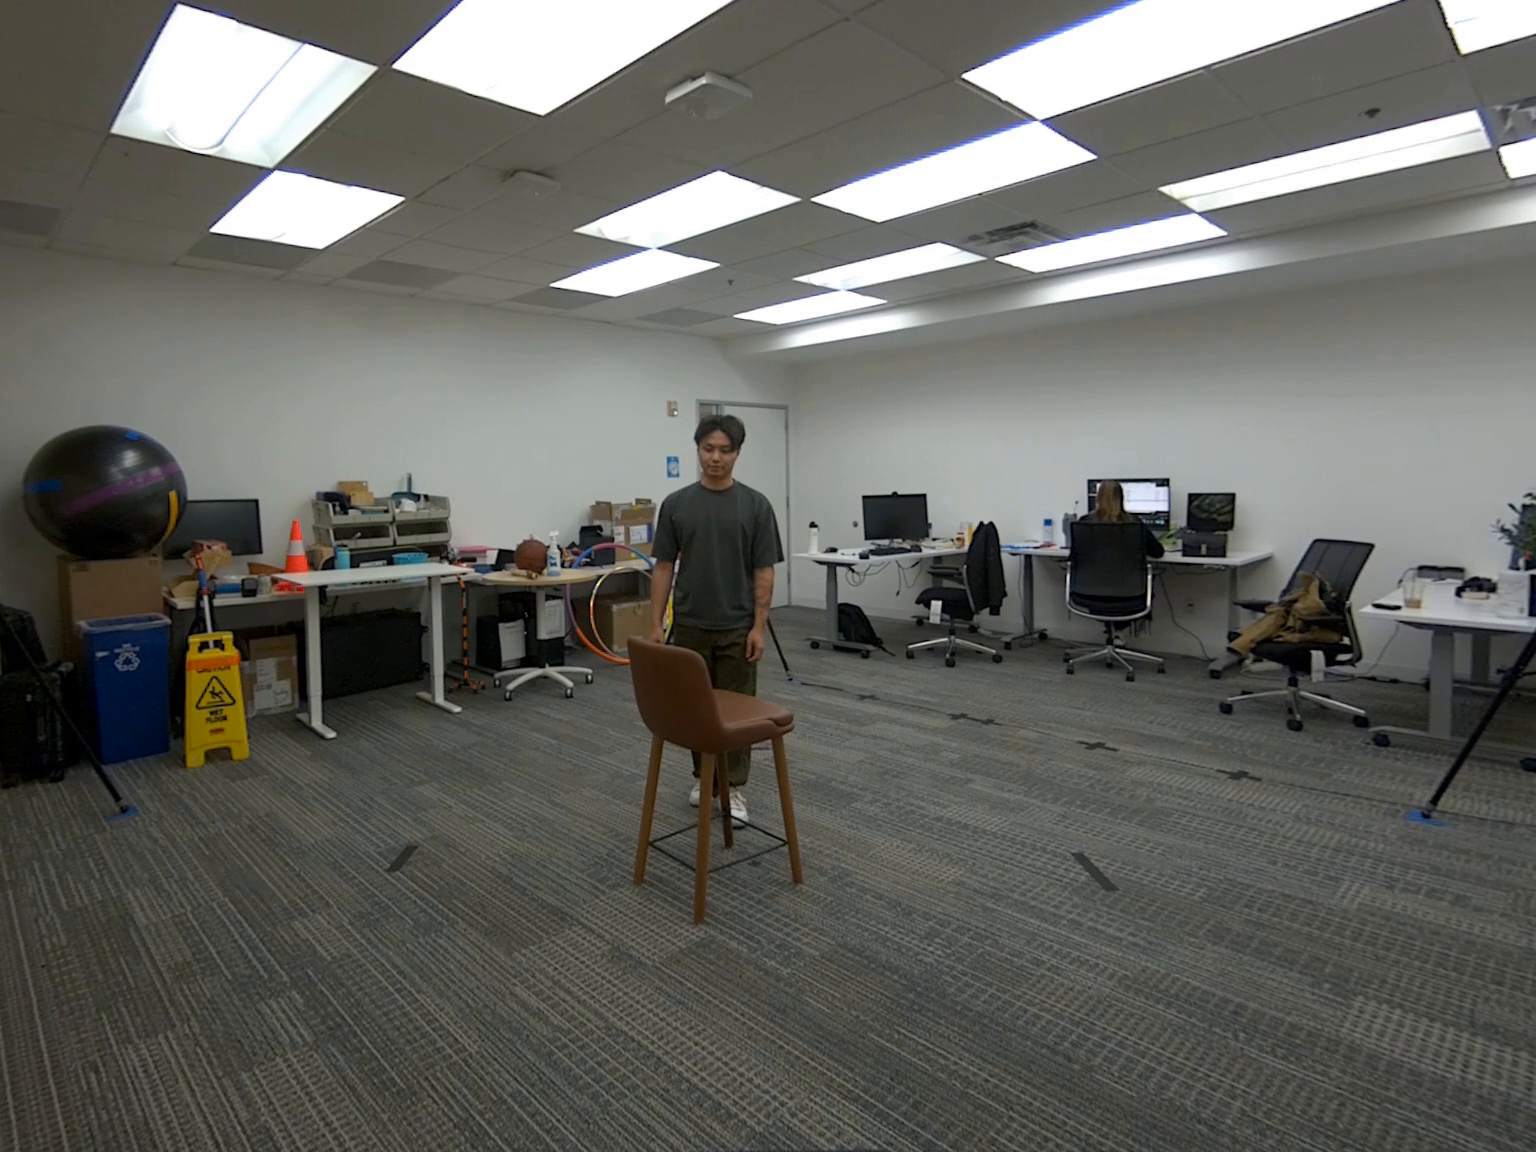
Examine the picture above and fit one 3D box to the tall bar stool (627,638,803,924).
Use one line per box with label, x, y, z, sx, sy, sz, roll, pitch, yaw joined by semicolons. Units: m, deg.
tall bar stool;-0.190;0.633;2.937;0.456;0.885;0.470;-7;7;-40
